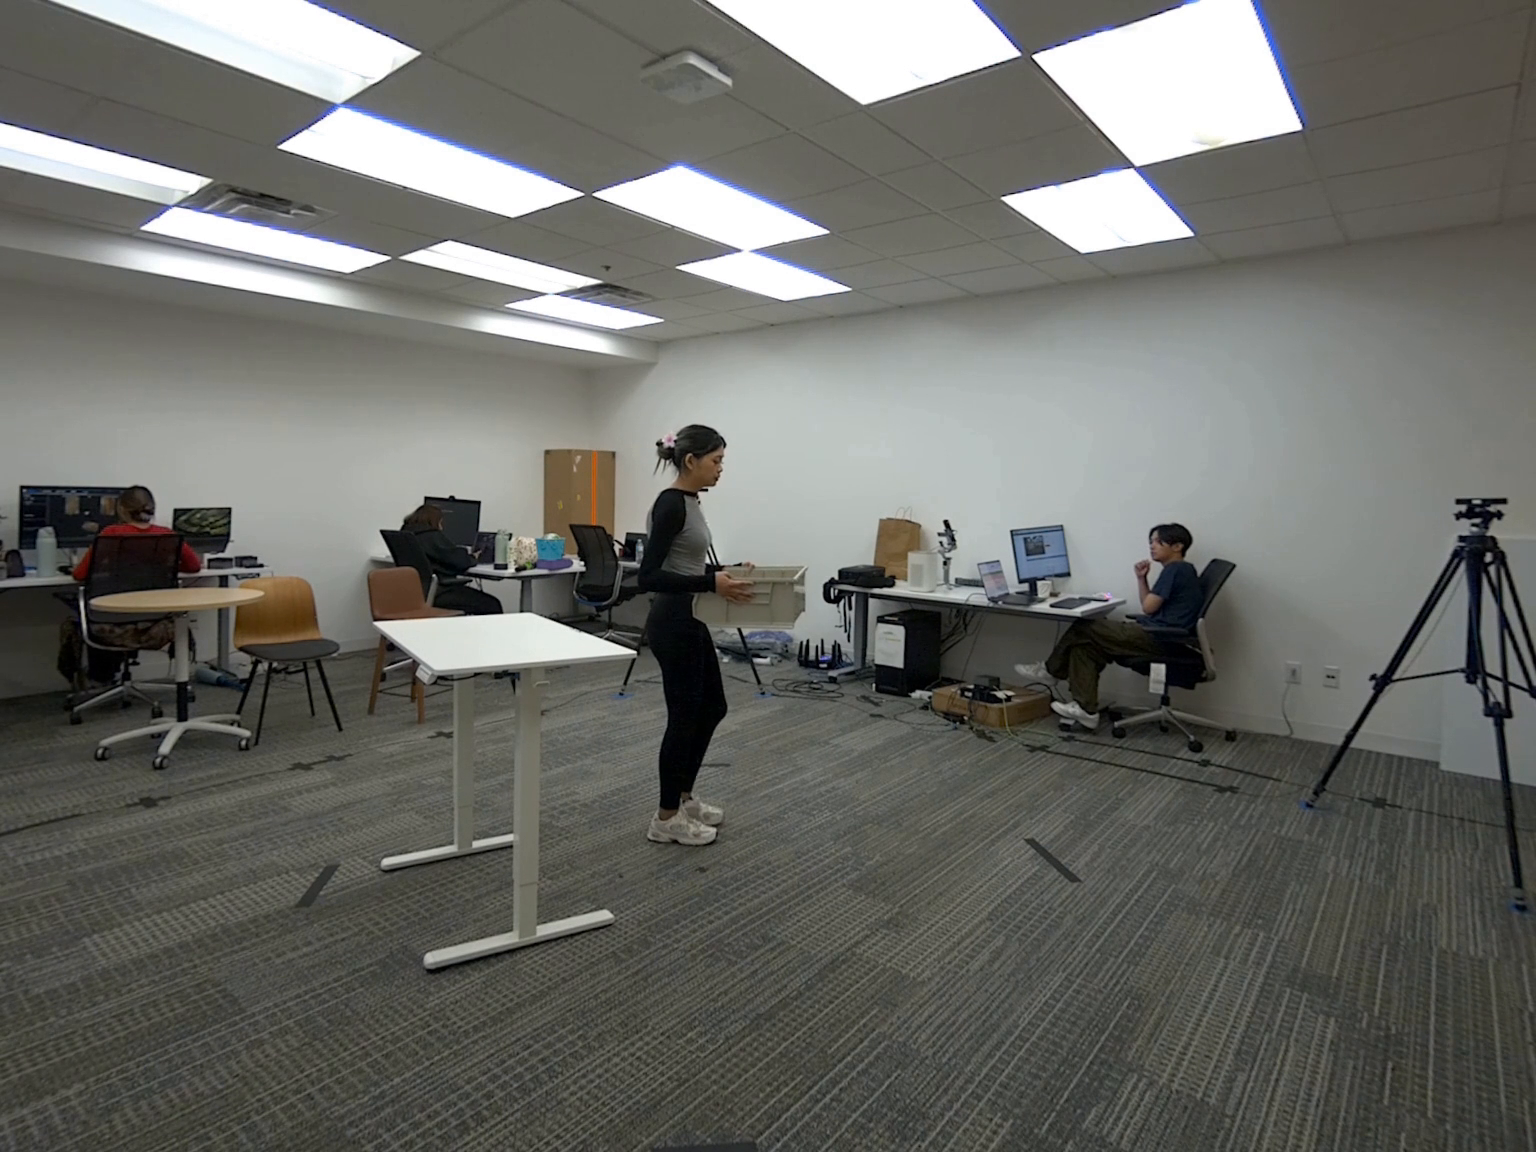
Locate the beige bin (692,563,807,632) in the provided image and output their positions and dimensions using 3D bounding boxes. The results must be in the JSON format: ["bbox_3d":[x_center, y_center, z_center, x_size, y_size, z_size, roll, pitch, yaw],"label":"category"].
[{"bbox_3d":[-0.069,0.076,3.225,0.382,0.188,0.419,2,6,10],"label":"beige bin"}]
